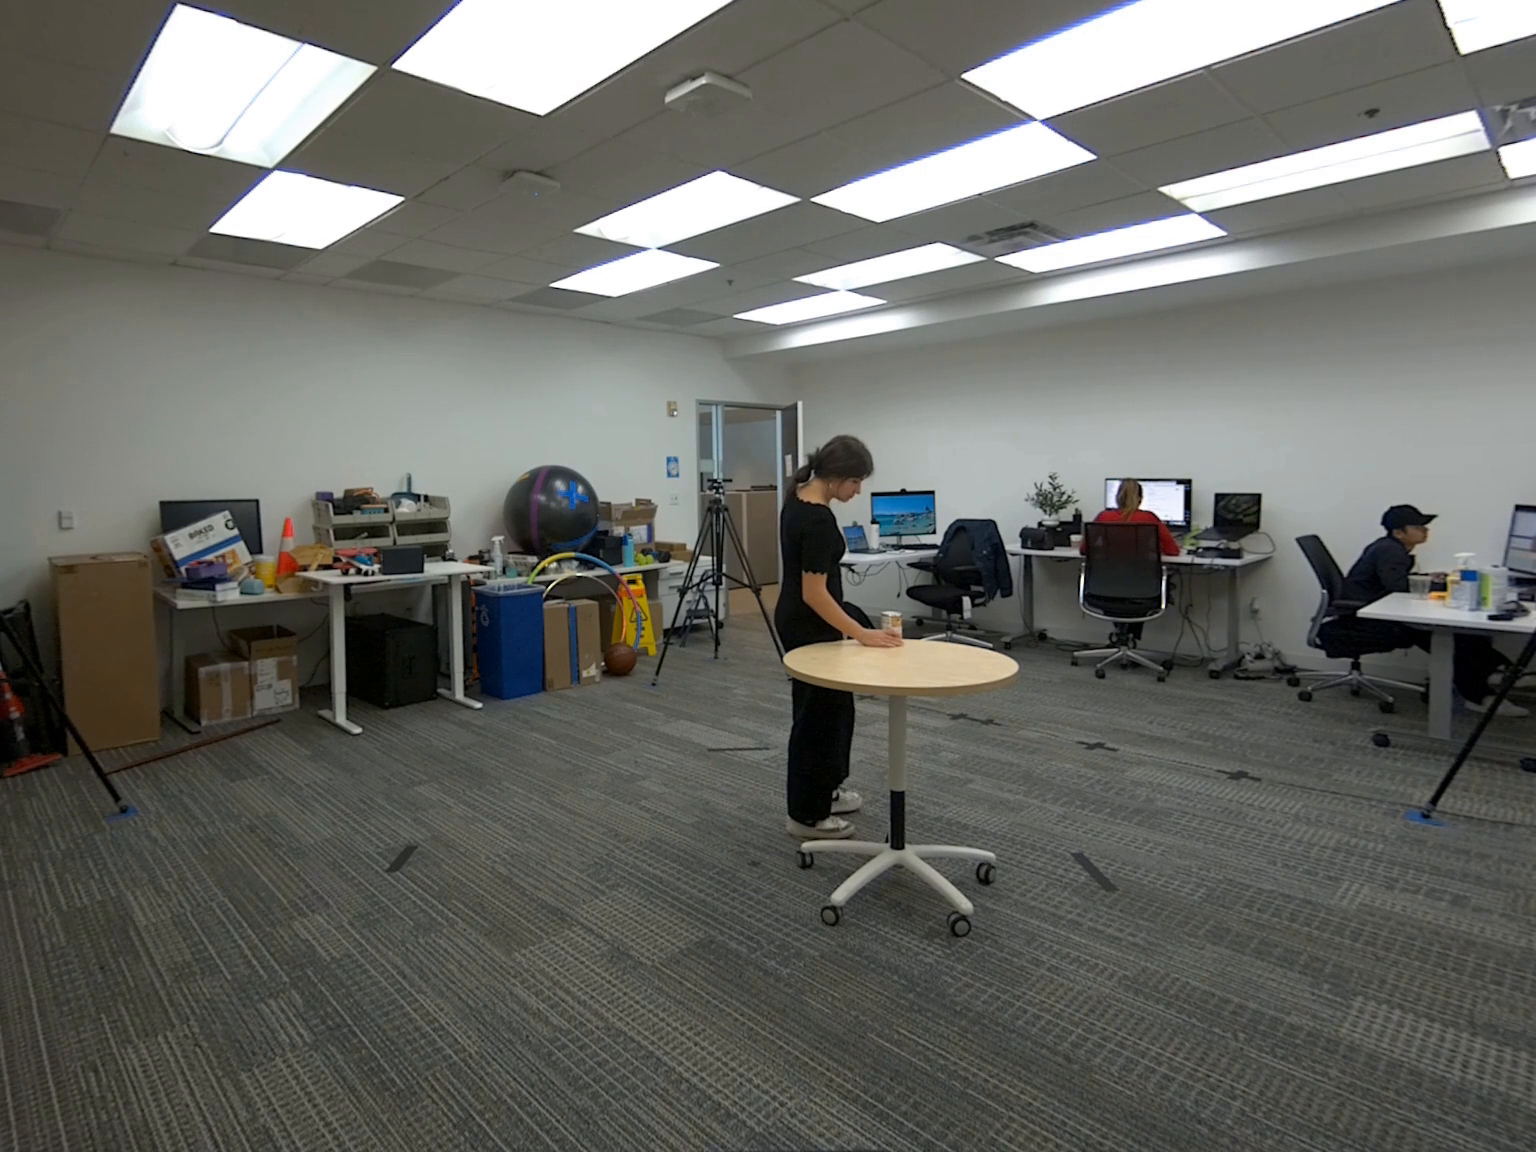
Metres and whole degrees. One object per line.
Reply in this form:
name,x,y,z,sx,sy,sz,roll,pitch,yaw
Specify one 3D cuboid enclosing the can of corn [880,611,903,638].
can of corn,0.451,0.194,3.129,0.074,0.110,0.075,-1,6,-2
